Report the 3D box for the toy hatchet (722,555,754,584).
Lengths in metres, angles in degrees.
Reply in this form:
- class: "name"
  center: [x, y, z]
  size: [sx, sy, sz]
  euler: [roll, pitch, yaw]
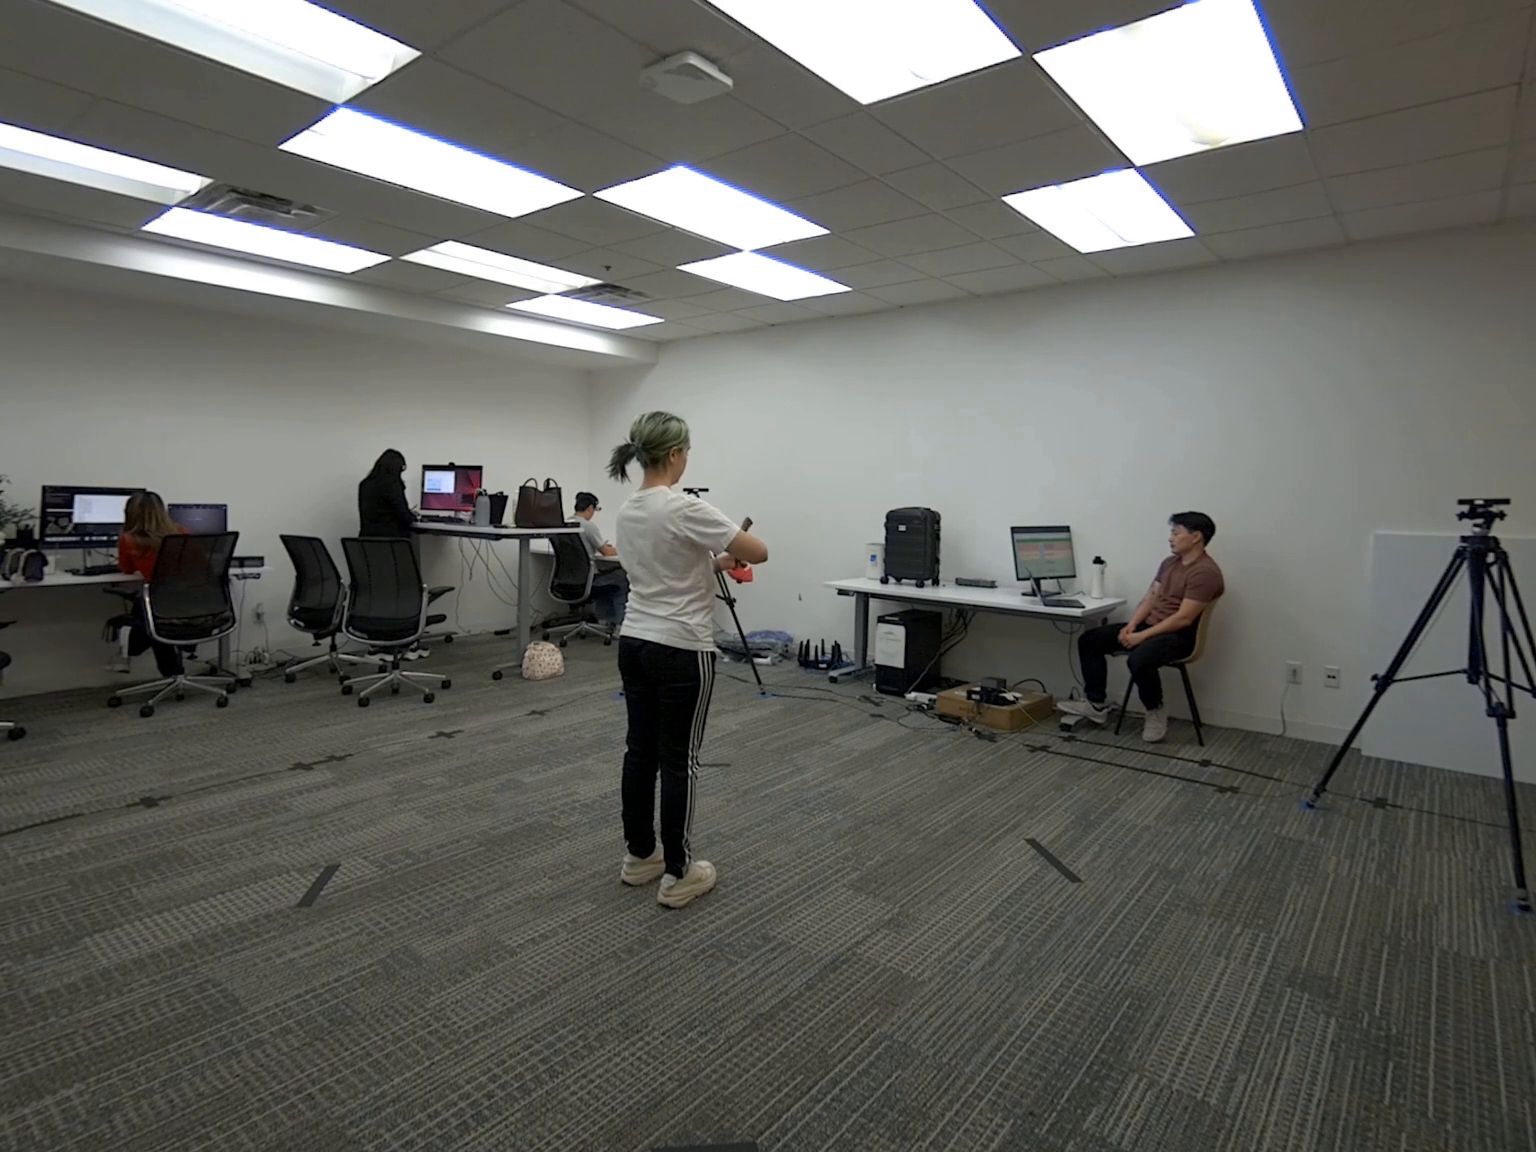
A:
- class: "toy hatchet"
  center: [-0.094, -0.086, 3.241]
  size: [0.126, 0.274, 0.030]
  euler: [37, -34, -28]
